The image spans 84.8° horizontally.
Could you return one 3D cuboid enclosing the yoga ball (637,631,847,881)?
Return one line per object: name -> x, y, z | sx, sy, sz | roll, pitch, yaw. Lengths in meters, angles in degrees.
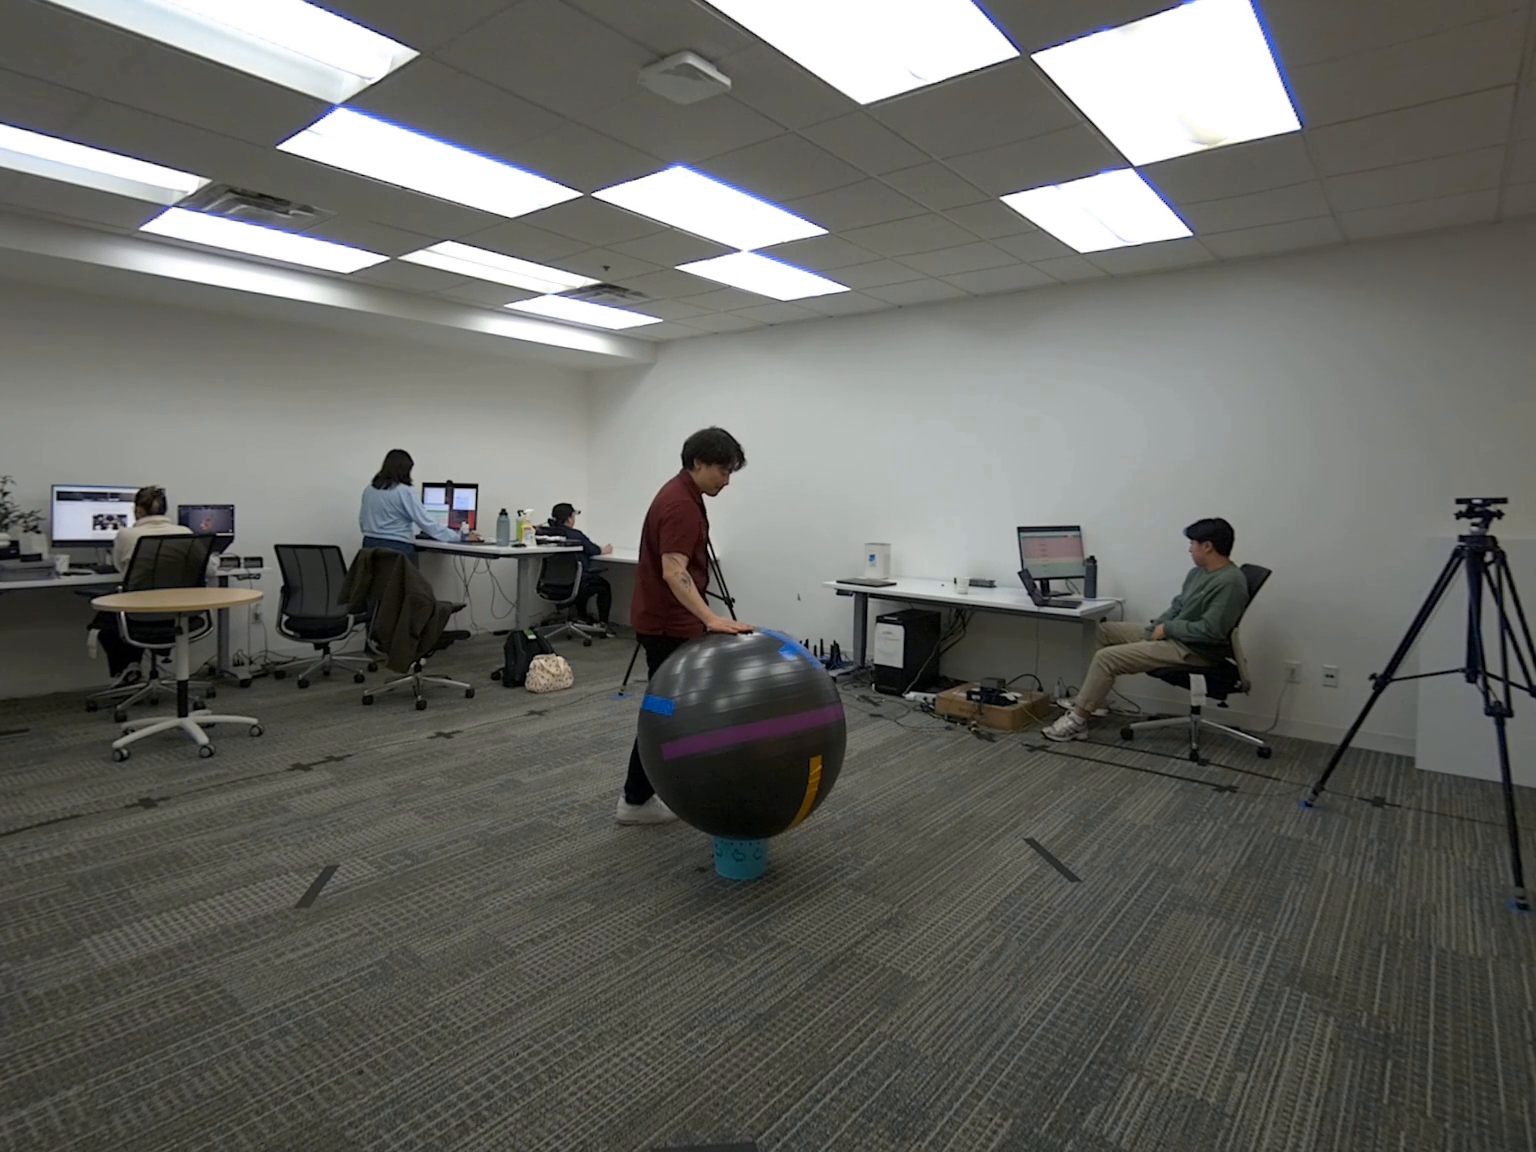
yoga ball -> -0.108, 0.558, 3.100 | 0.757, 0.755, 0.762 | 1, 4, -2
